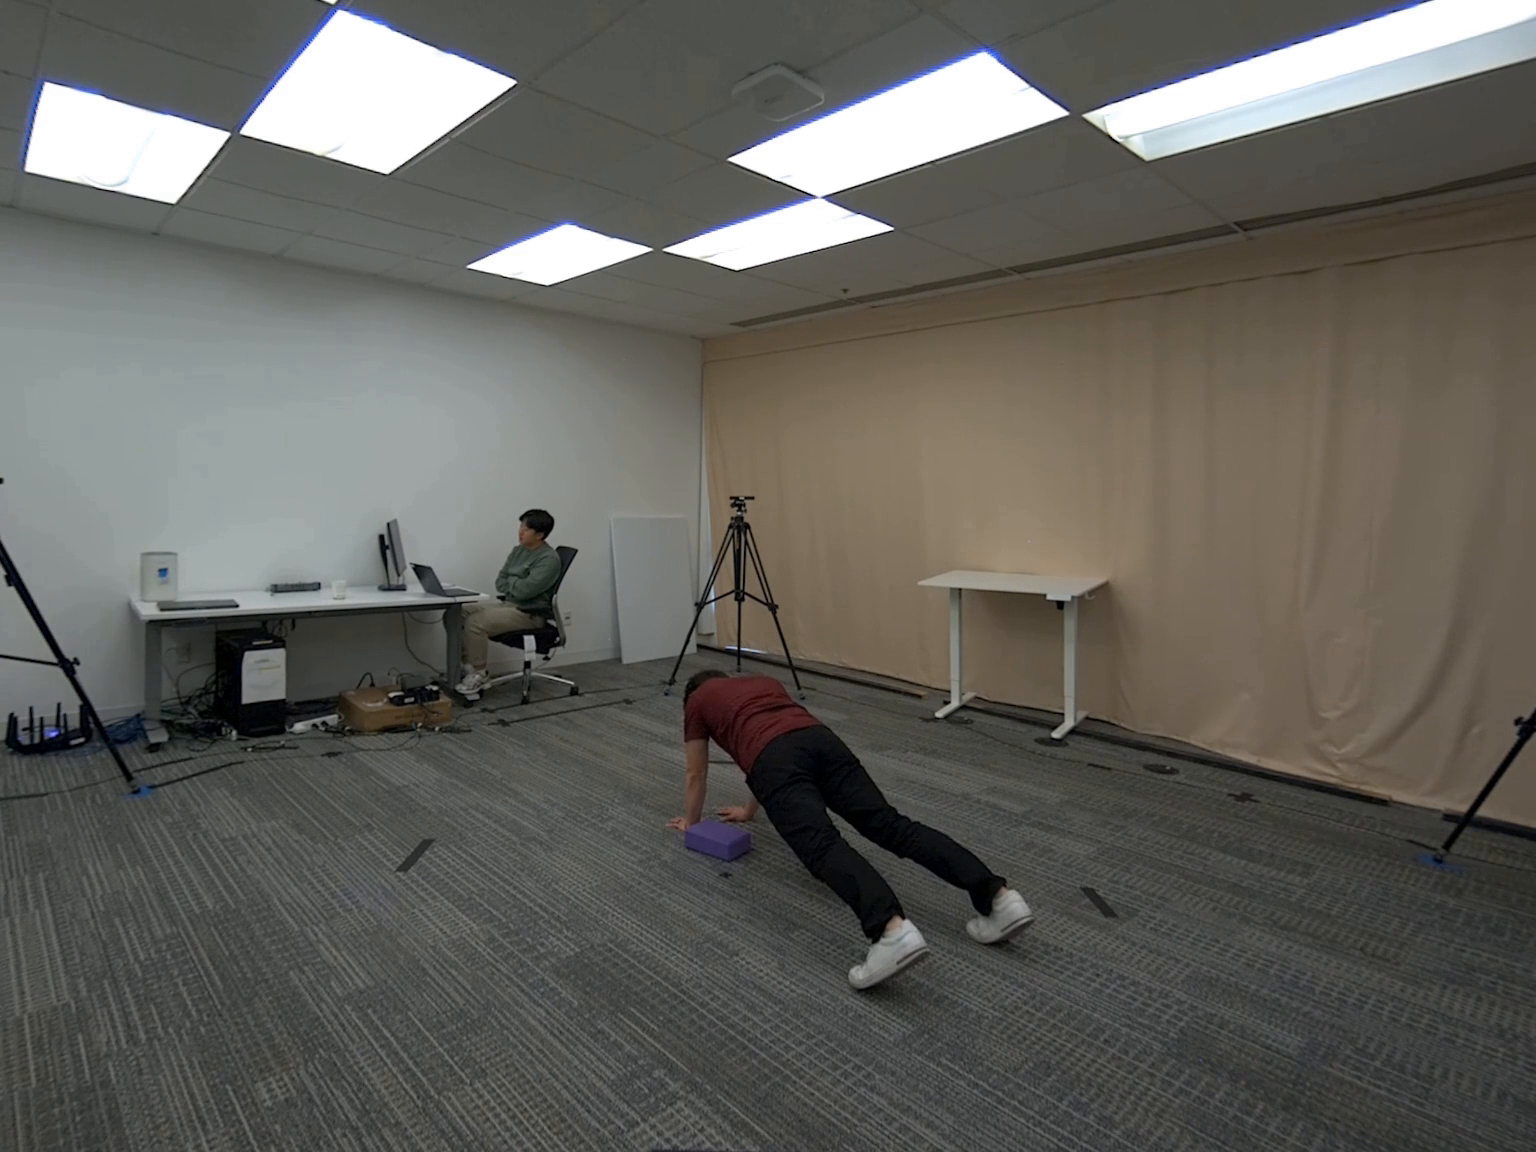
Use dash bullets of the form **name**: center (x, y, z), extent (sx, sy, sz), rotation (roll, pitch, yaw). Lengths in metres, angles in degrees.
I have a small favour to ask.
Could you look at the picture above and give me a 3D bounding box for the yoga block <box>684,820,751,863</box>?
- **yoga block**: center (-0.205, 1.038, 3.326), extent (0.235, 0.076, 0.146), rotation (4, 6, 36)
